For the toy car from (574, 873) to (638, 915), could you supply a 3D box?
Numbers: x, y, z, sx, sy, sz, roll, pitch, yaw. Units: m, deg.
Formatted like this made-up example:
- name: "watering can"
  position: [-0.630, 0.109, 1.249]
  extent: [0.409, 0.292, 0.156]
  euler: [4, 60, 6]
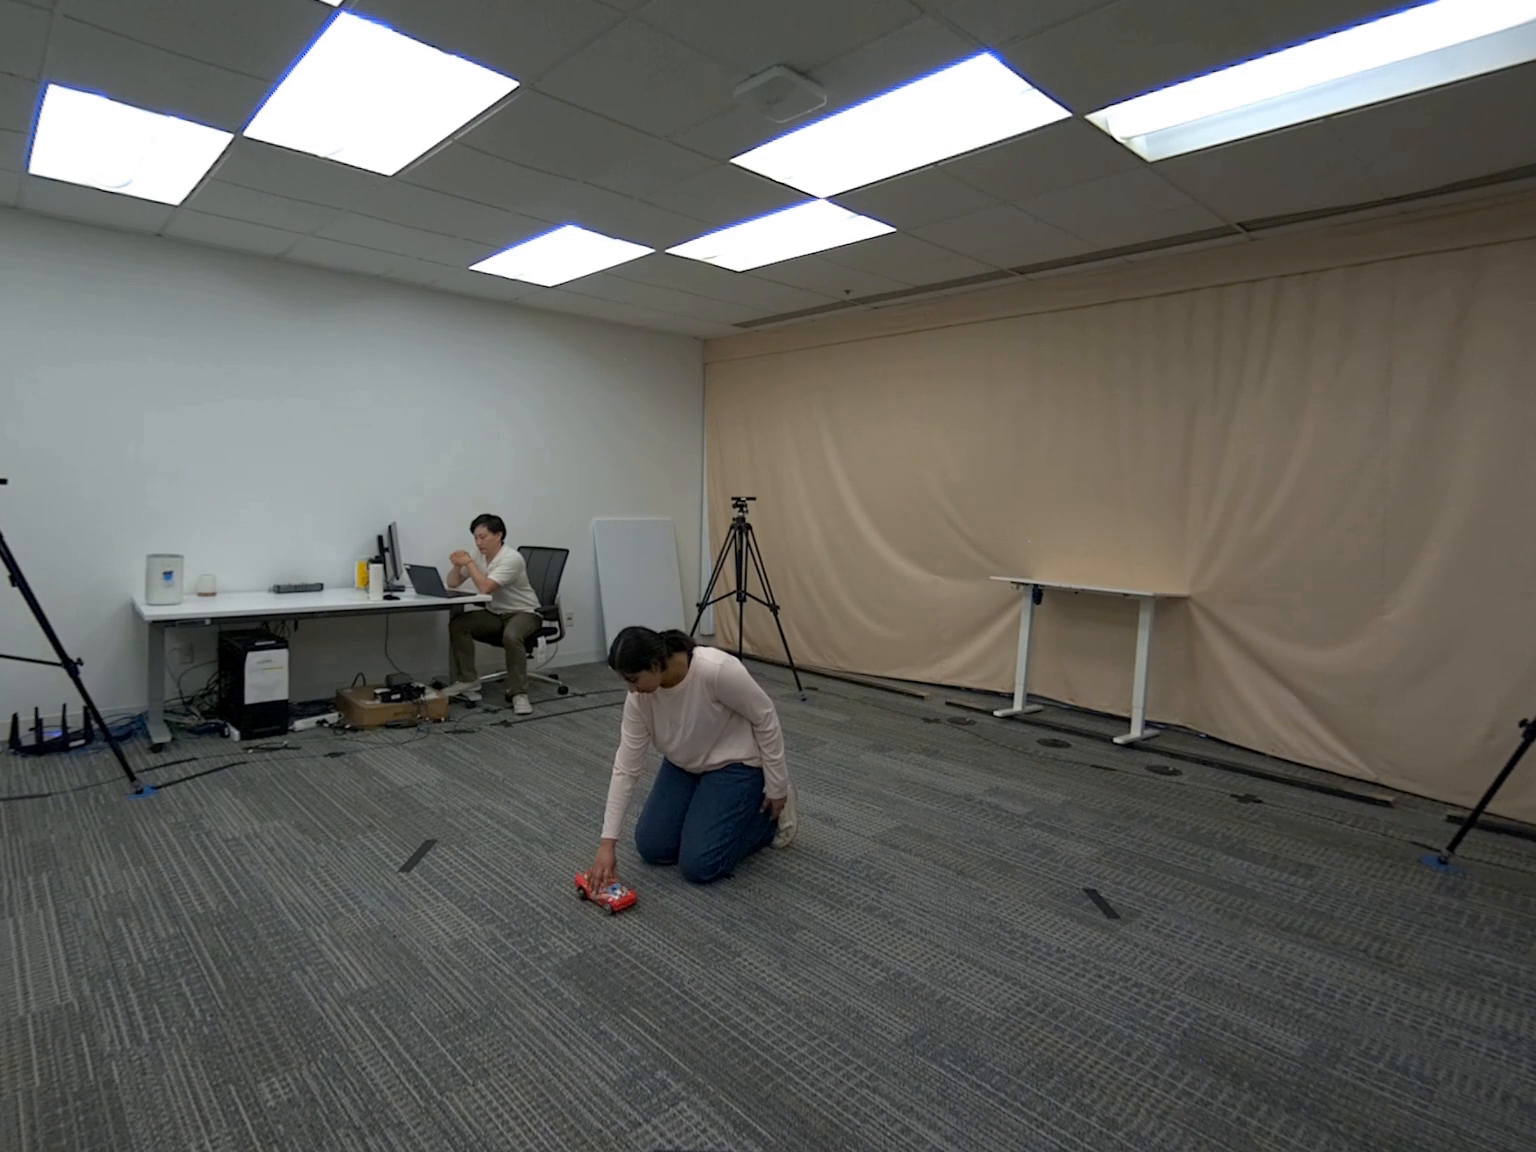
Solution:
- name: "toy car"
  position: [-0.575, 1.086, 2.899]
  extent: [0.127, 0.082, 0.262]
  euler: [-3, 17, -45]
